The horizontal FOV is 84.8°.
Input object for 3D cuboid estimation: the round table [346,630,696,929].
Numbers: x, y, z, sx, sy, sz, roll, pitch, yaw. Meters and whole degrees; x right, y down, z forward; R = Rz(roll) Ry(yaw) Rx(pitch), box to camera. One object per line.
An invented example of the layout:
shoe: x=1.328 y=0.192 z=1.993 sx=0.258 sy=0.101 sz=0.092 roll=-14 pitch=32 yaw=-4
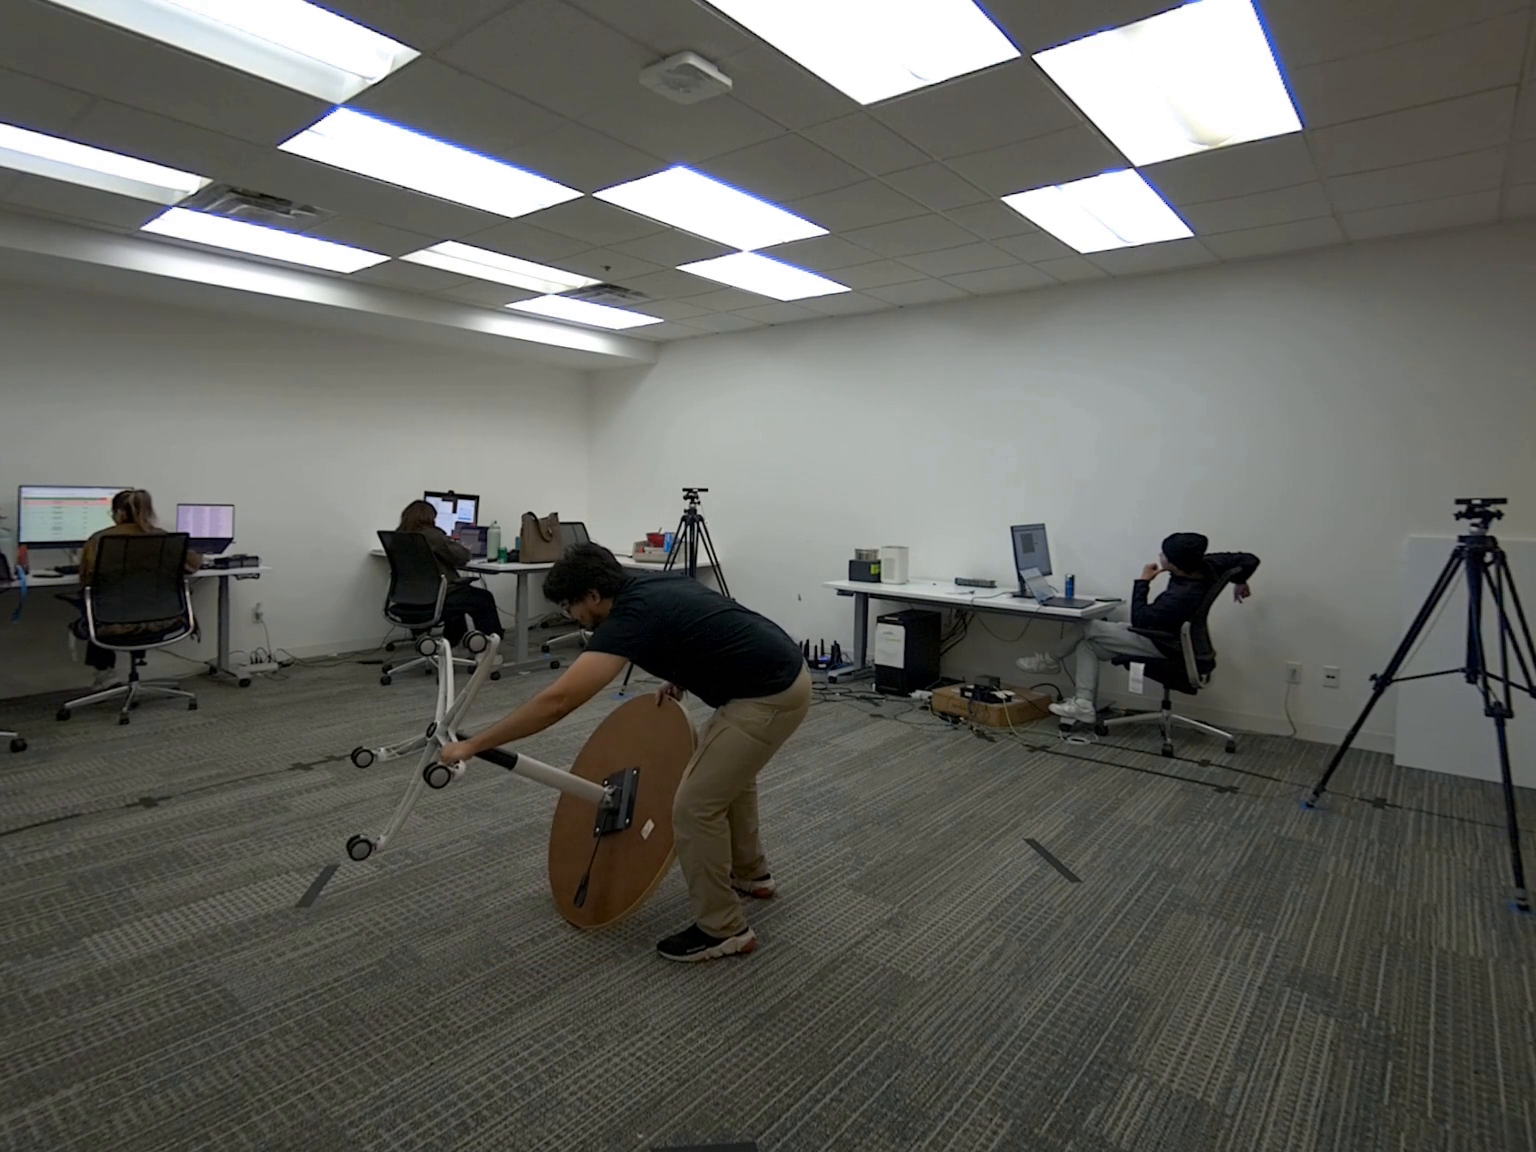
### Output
round table: x=-0.779 y=0.586 z=2.628 sx=0.758 sy=0.789 sz=0.810 roll=32 pitch=-13 yaw=-31
